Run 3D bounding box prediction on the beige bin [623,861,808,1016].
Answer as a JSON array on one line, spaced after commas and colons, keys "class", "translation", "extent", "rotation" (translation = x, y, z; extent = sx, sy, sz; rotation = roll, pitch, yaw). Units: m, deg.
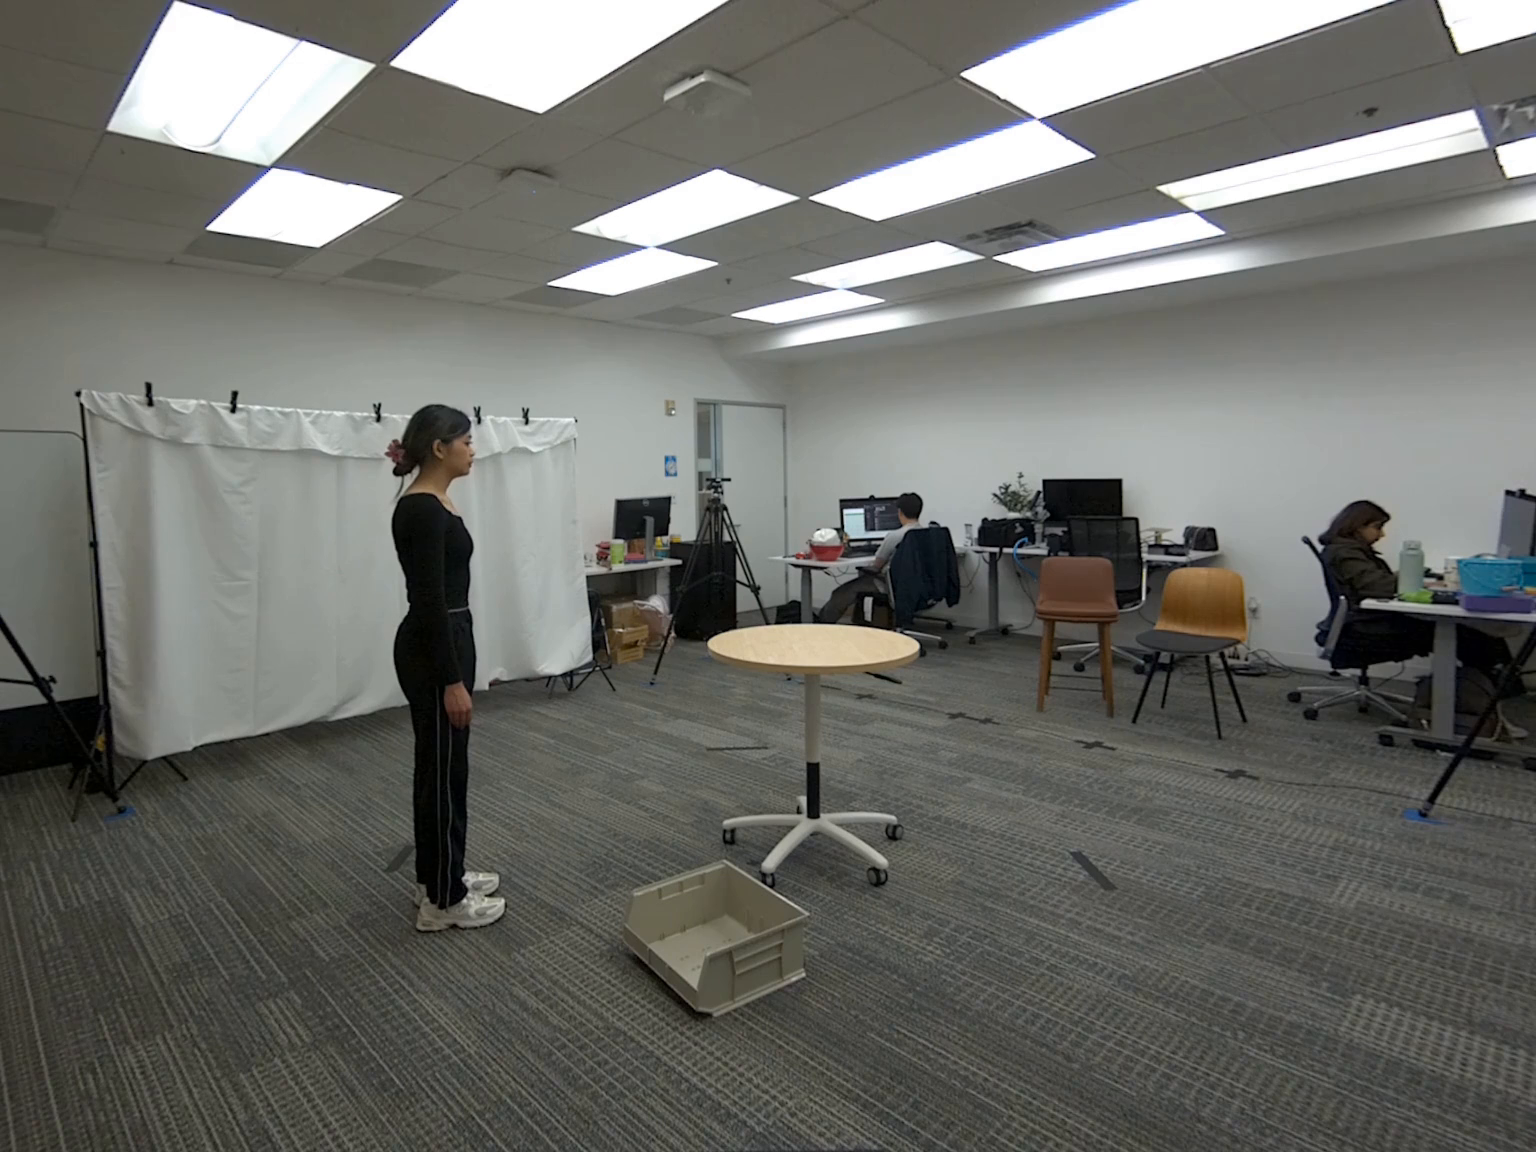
[{"class": "beige bin", "translation": [-0.157, 1.027, 2.455], "extent": [0.368, 0.188, 0.435], "rotation": [-4, 6, -36]}]
